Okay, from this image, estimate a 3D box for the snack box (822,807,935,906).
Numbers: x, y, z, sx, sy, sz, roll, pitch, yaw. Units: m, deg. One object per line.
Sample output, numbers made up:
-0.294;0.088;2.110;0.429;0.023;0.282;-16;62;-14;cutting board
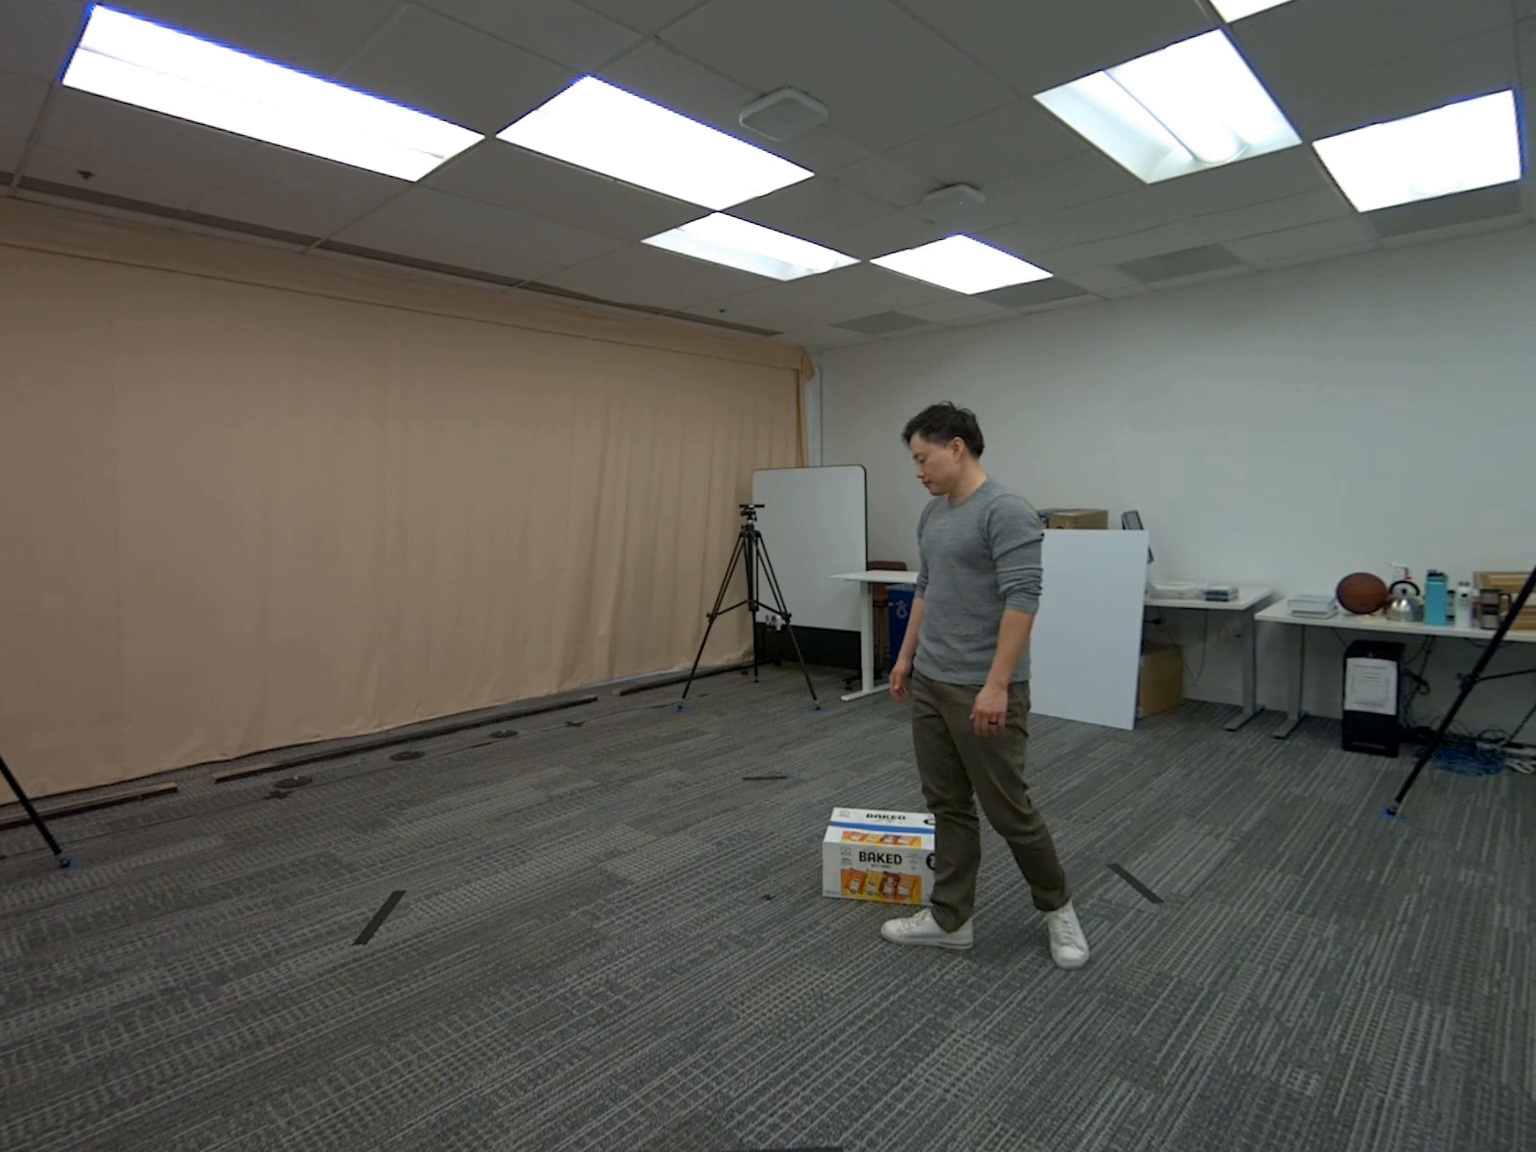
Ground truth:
0.430;1.024;3.092;0.411;0.205;0.336;0;5;12;snack box
